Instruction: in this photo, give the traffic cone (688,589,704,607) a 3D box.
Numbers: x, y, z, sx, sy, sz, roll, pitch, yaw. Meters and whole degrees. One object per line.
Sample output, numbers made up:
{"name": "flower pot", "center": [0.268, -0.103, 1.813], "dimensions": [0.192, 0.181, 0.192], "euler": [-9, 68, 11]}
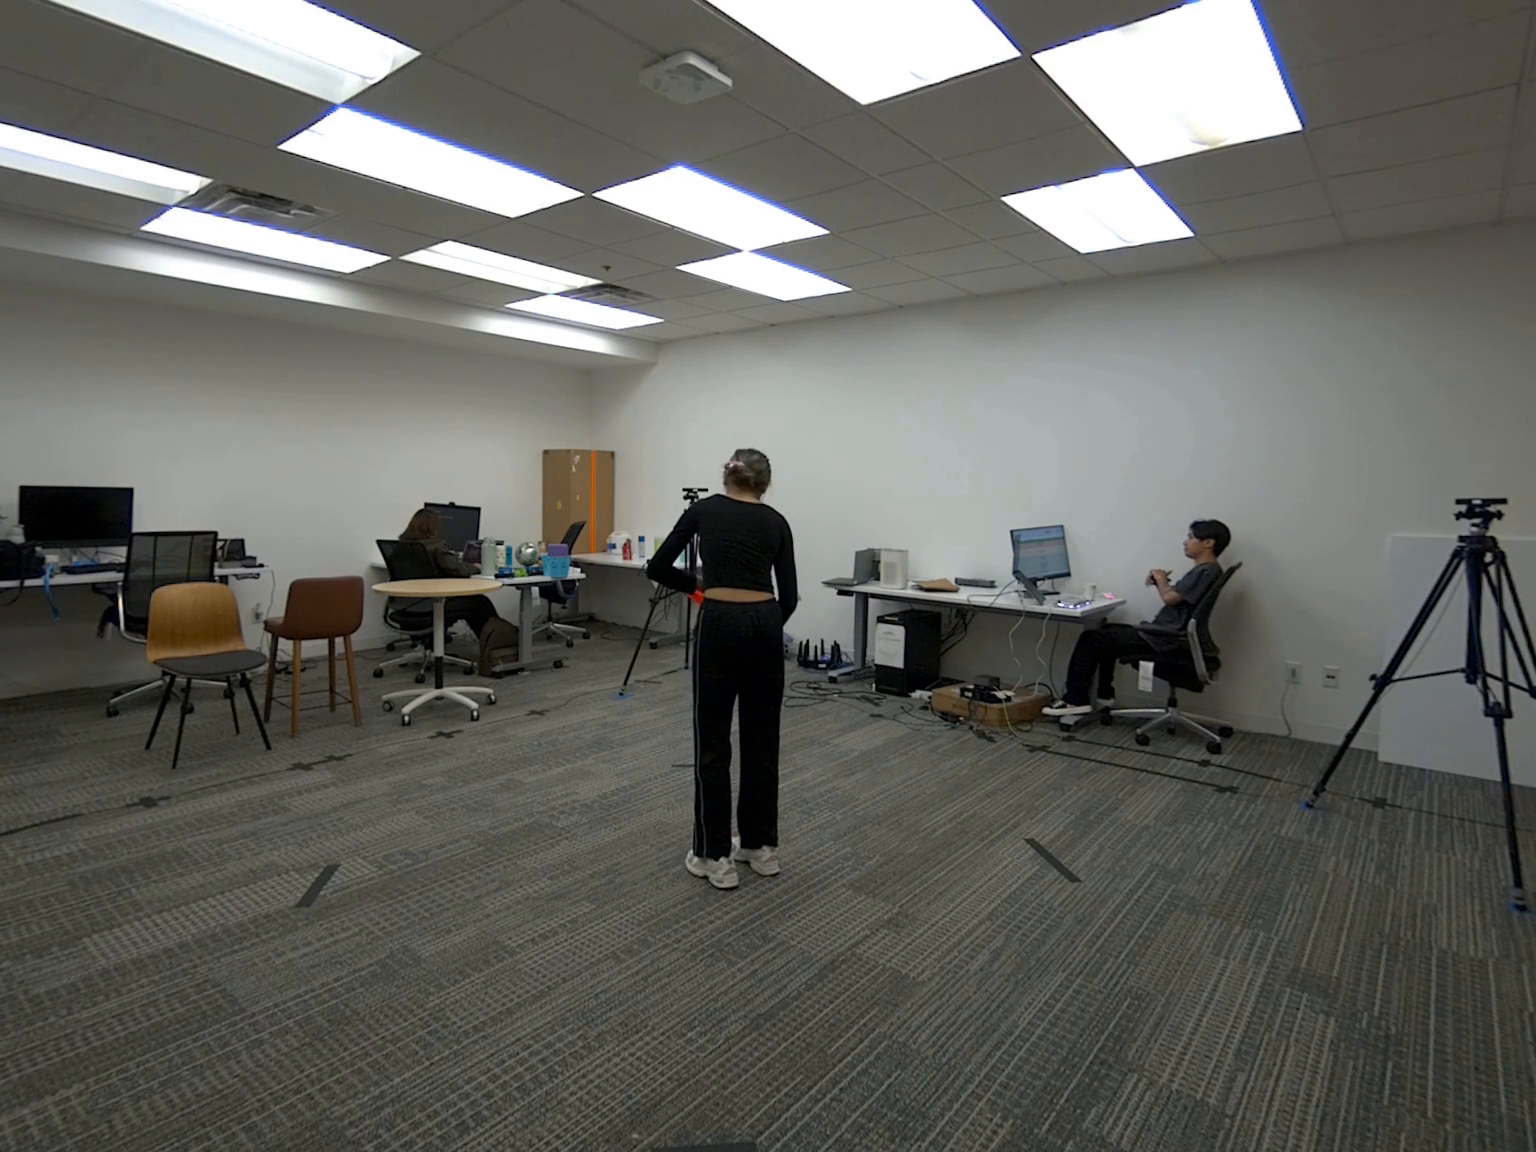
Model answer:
{"name": "traffic cone", "center": [-0.166, 0.146, 3.389], "dimensions": [0.376, 0.203, 0.210], "euler": [26, 7, -16]}
